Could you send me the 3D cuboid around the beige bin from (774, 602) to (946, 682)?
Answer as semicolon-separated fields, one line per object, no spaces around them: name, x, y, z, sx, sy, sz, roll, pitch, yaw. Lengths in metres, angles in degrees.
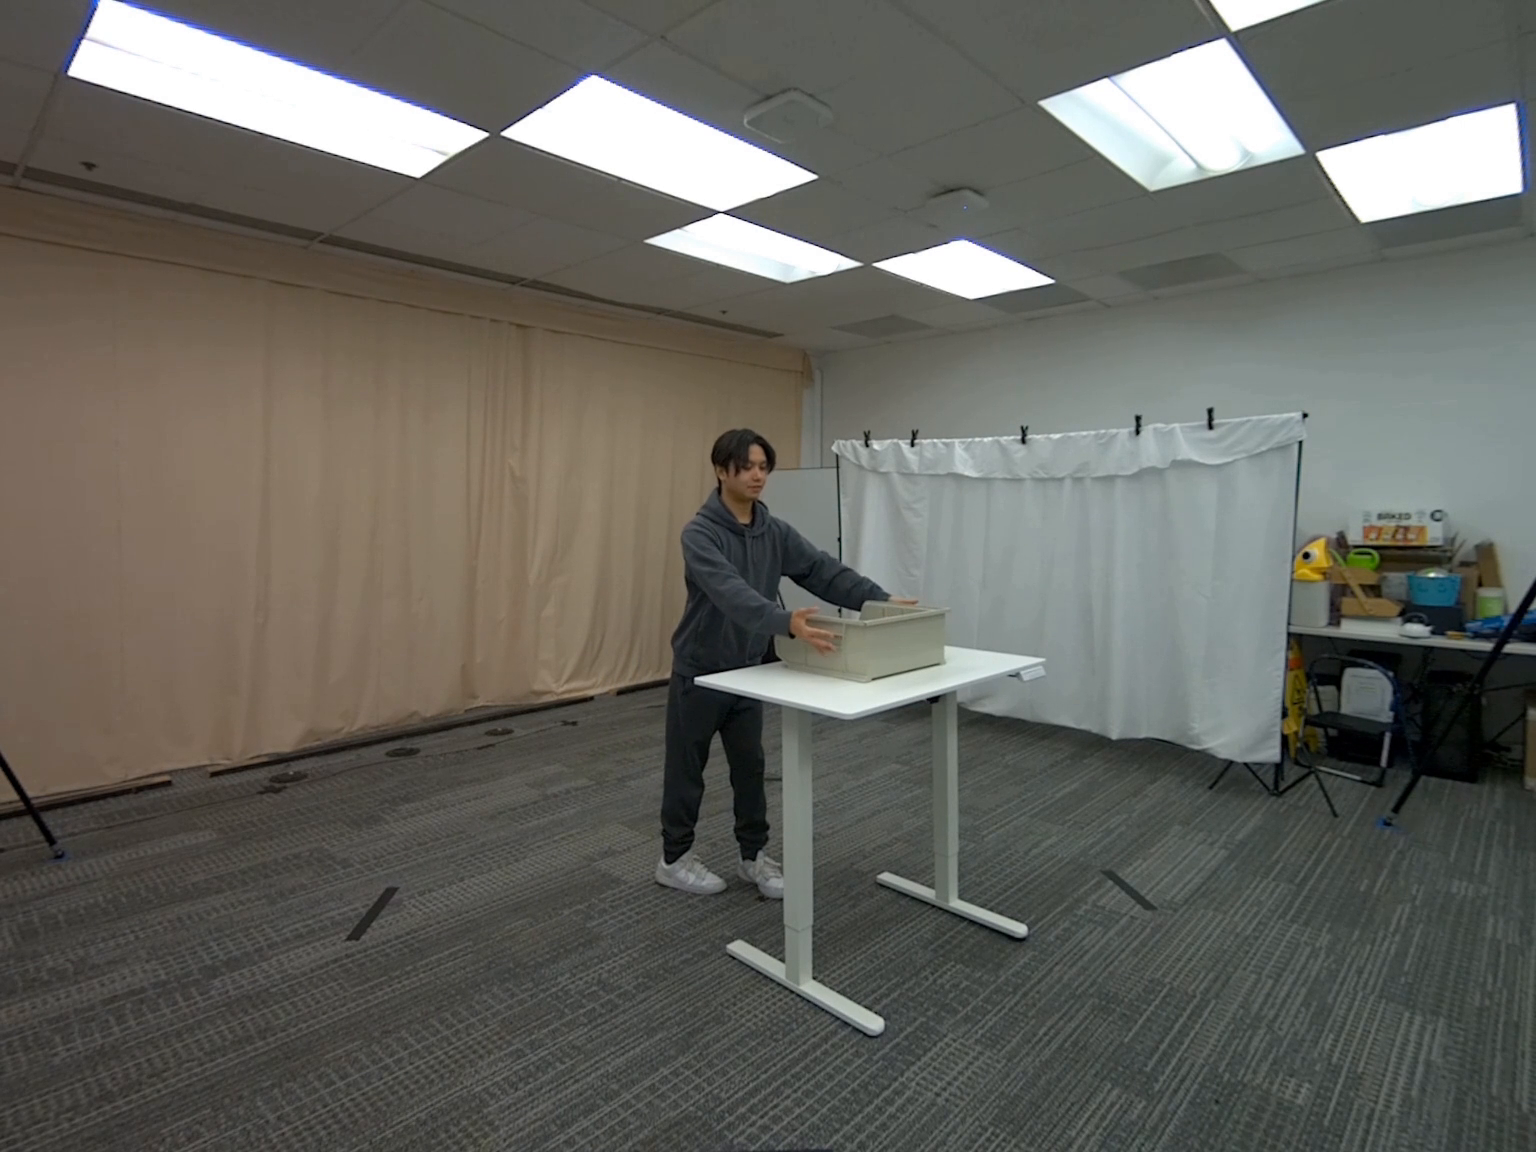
beige bin;0.308;0.203;2.669;0.409;0.188;0.390;-4;6;-43
